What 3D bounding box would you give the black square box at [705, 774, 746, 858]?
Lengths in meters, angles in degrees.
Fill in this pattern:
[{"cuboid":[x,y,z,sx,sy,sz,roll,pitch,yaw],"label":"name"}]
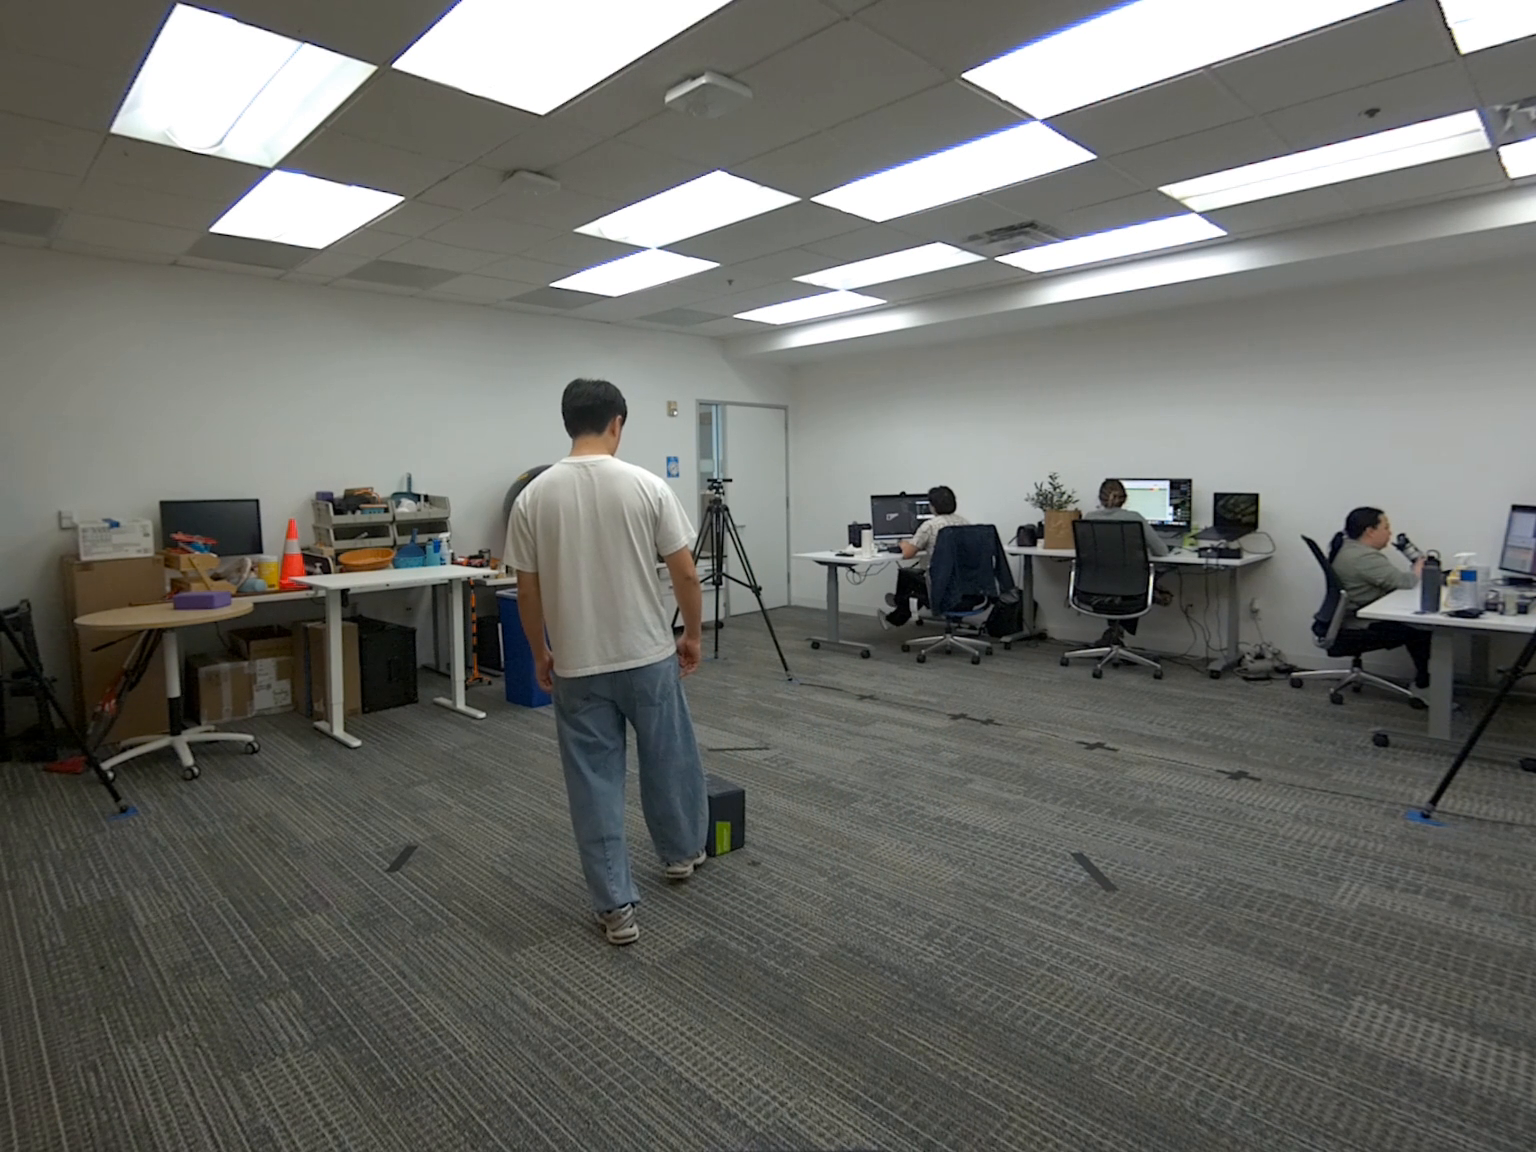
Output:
[{"cuboid":[-0.215,0.907,3.266,0.152,0.227,0.224,-2,5,-40],"label":"black square box"}]
